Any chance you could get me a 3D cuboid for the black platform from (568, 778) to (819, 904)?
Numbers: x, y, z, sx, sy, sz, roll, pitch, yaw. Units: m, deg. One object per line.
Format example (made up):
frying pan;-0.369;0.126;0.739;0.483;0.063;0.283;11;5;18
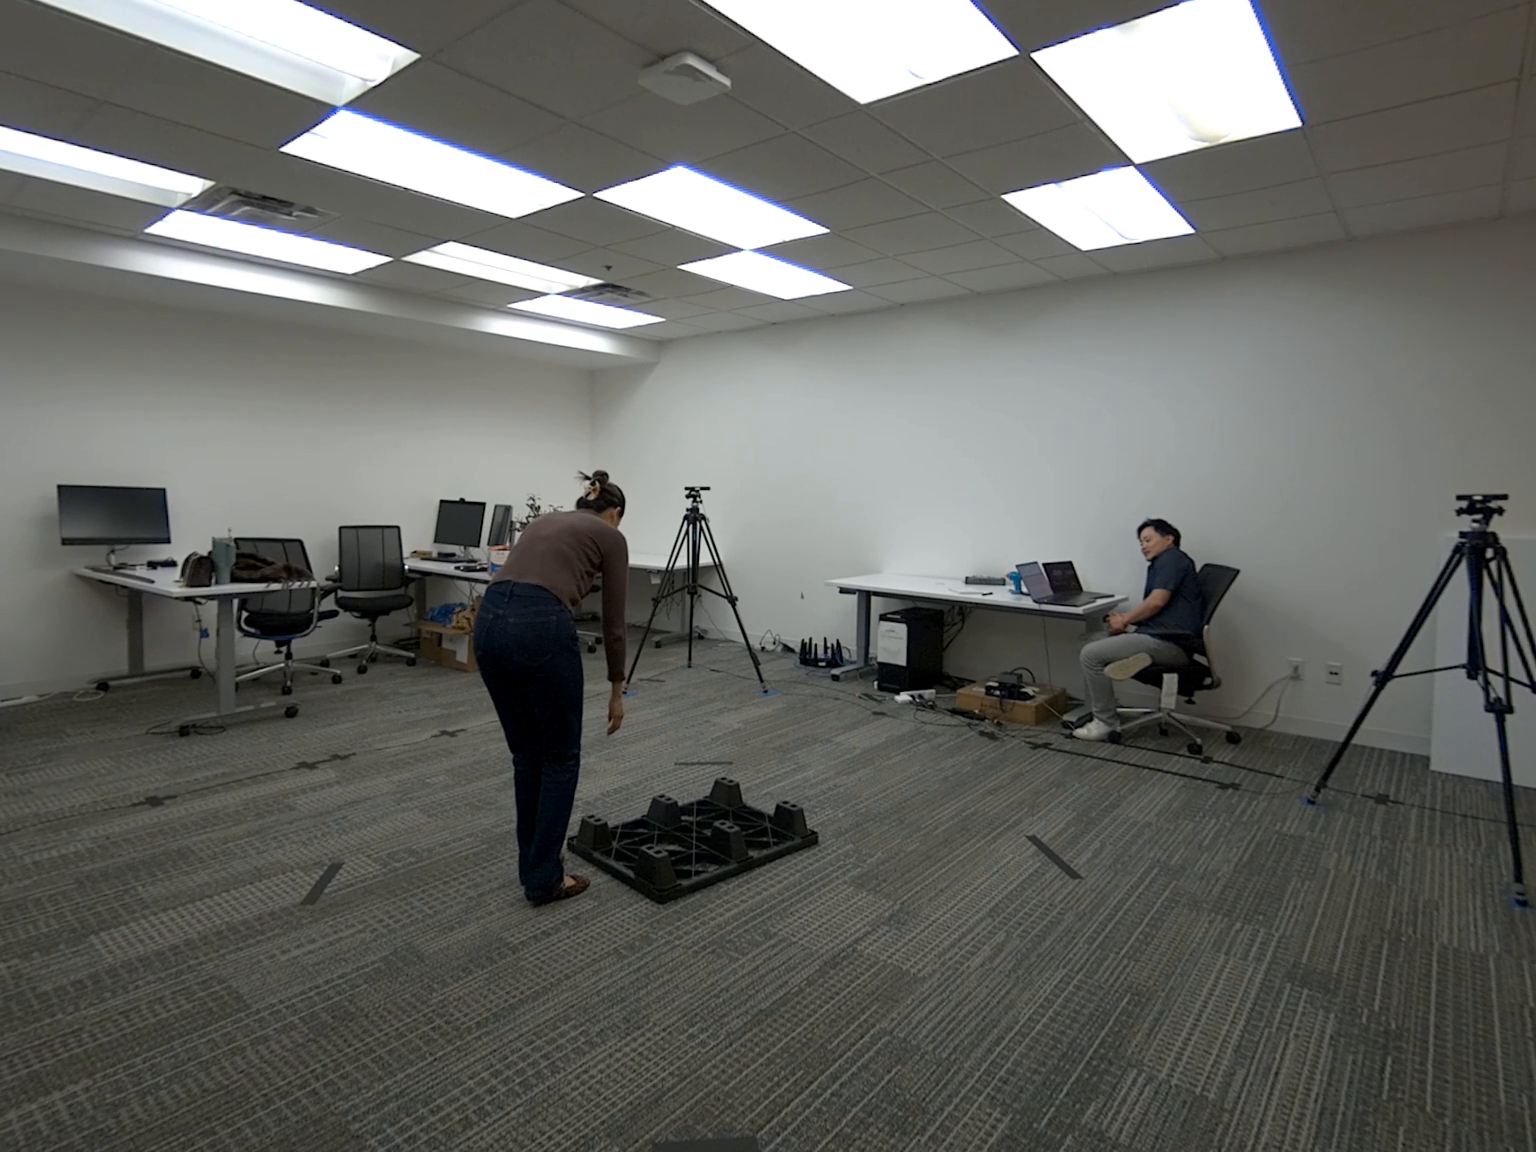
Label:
black platform;-0.293;0.976;3.294;0.781;0.143;0.626;-5;7;-44
